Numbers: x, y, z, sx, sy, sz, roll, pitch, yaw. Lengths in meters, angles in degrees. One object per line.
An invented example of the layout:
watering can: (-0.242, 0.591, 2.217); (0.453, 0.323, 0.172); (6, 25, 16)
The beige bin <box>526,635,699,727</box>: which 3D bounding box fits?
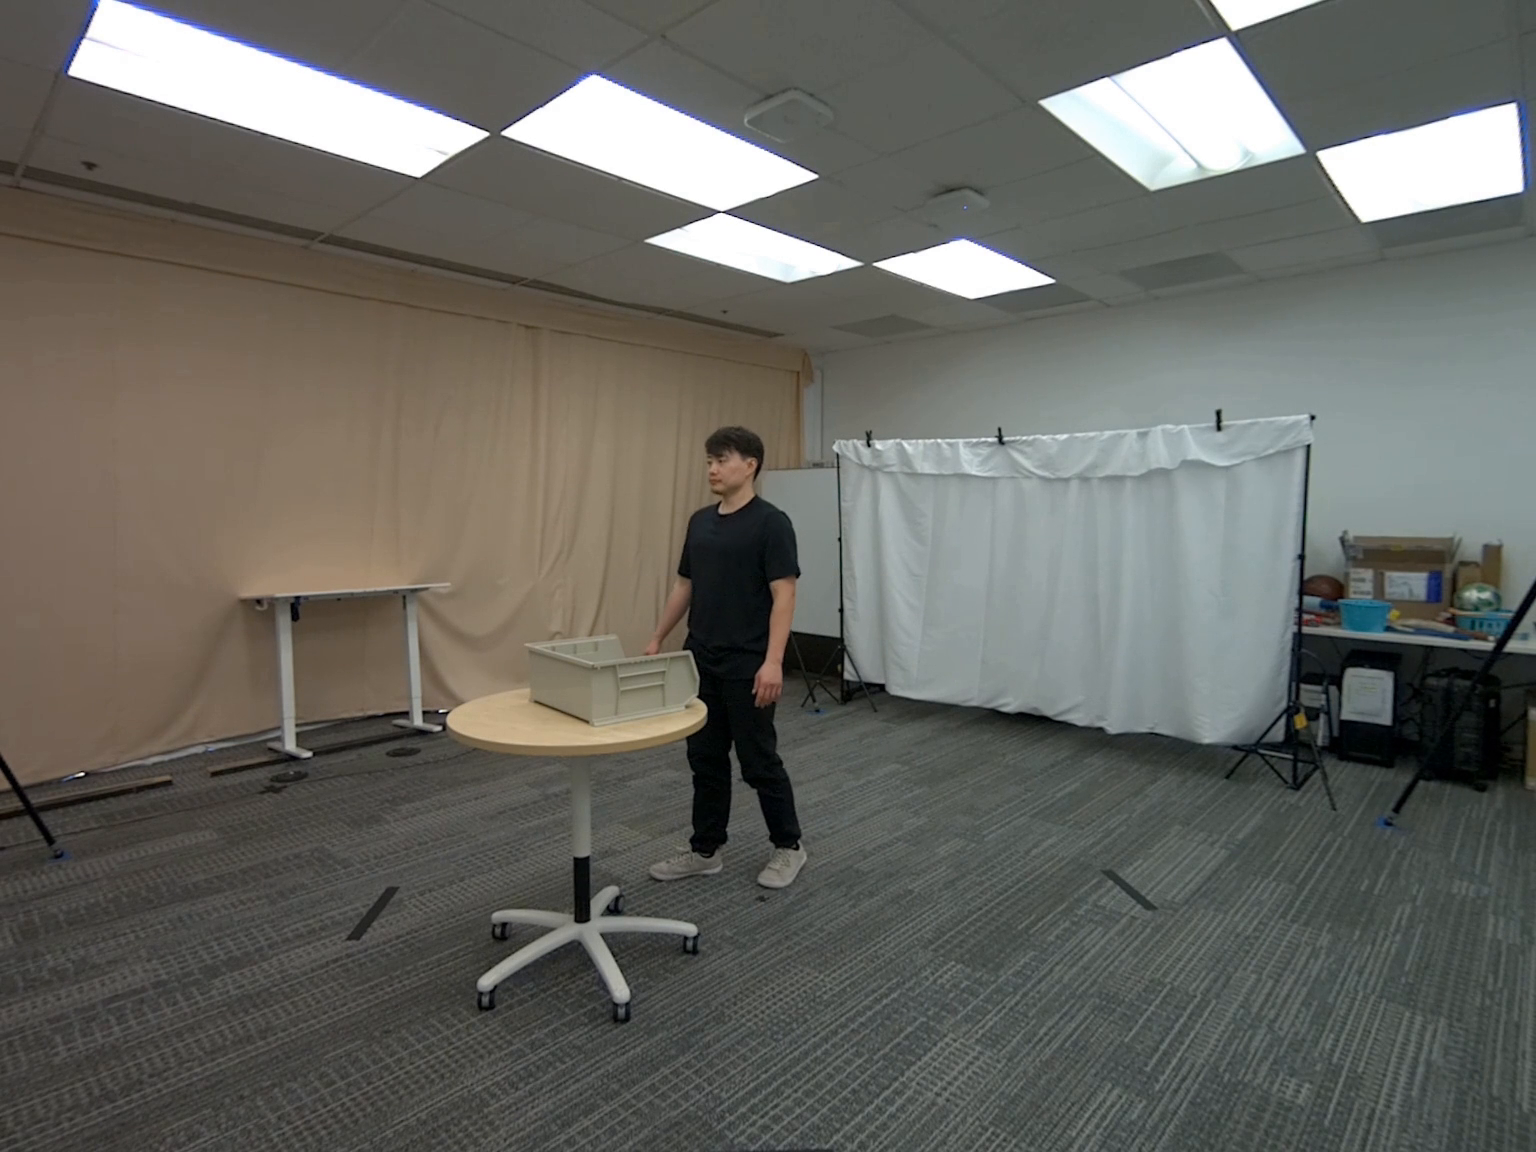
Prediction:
beige bin: (-0.490, 0.313, 2.589); (0.366, 0.188, 0.436); (-4, 7, -39)
